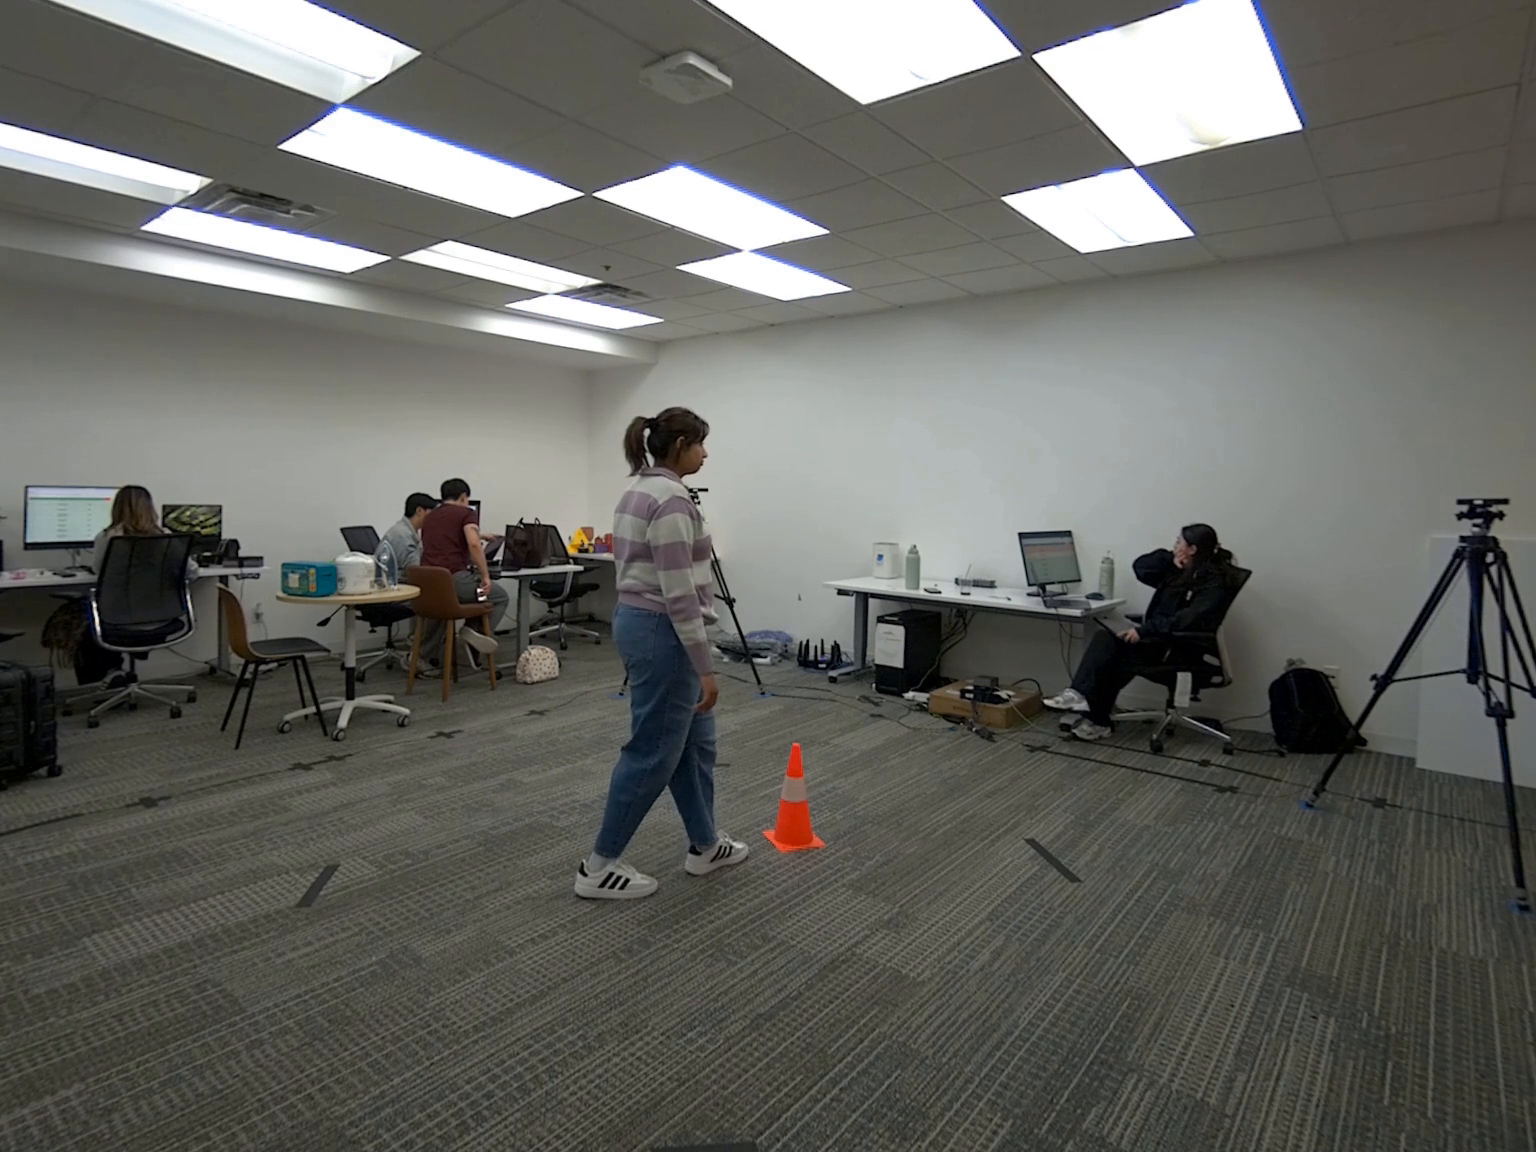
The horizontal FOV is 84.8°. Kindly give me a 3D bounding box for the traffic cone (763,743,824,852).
[{"bbox_3d":[0.090,0.863,3.395,0.201,0.383,0.208,-2,3,-20],"label":"traffic cone"}]
